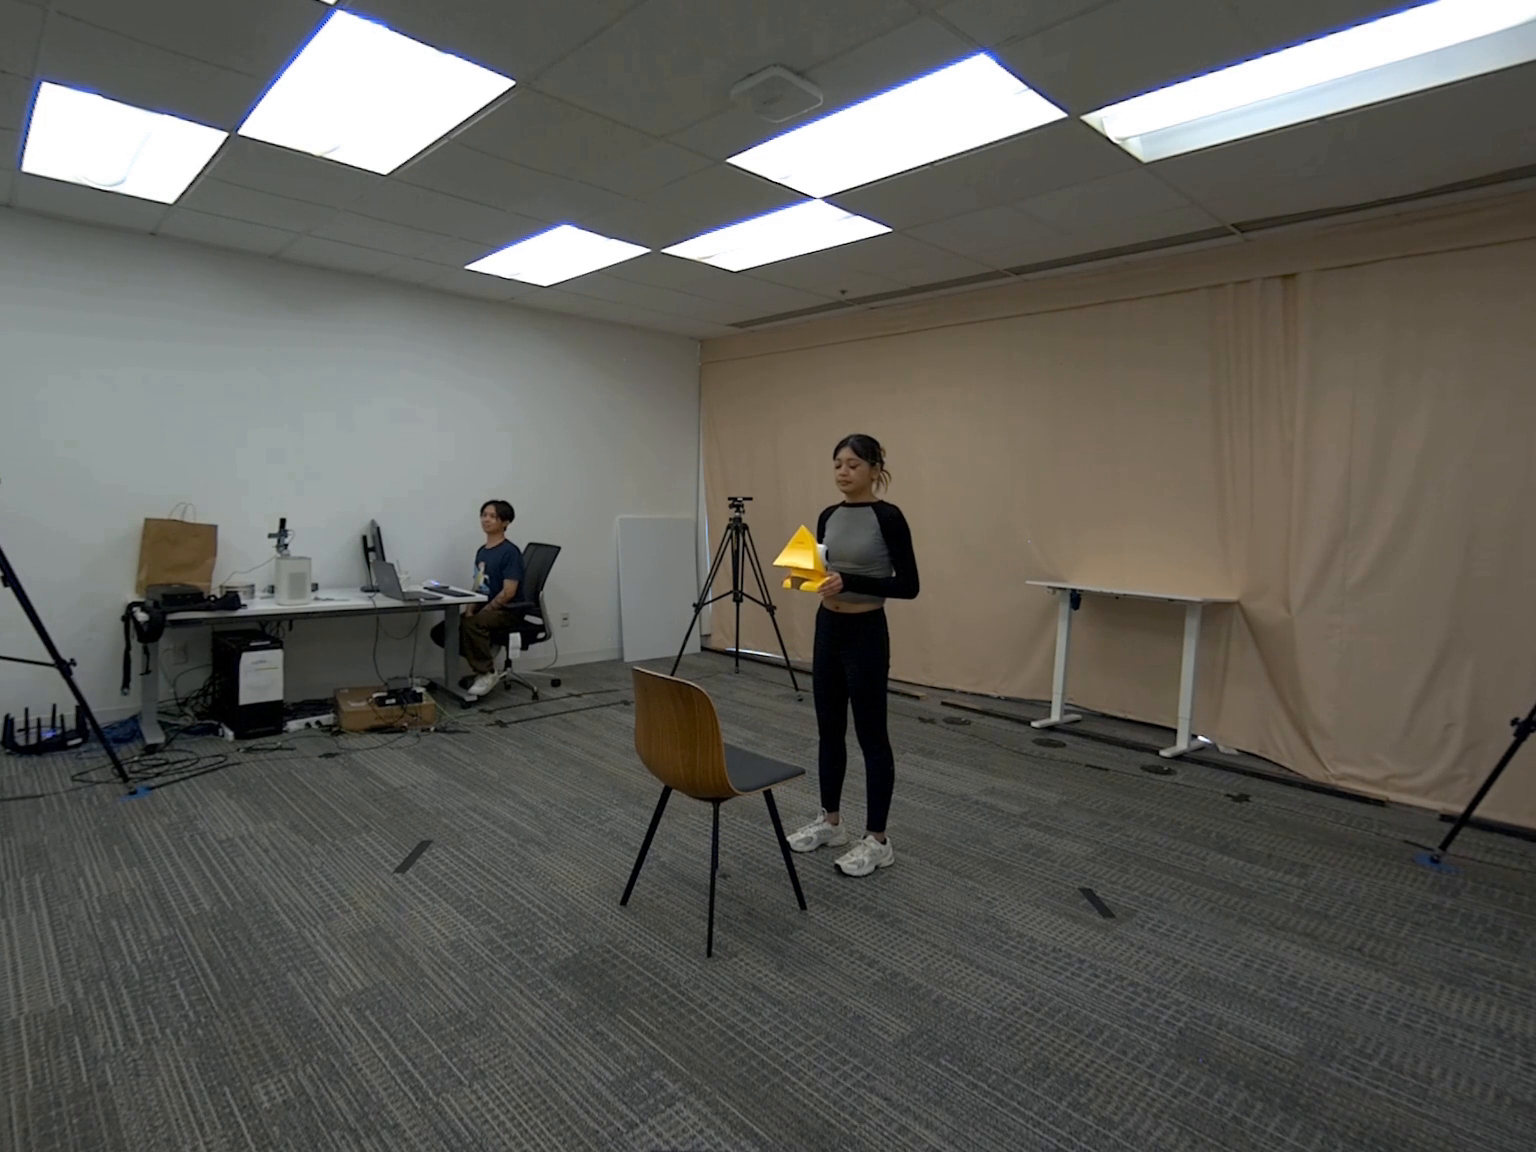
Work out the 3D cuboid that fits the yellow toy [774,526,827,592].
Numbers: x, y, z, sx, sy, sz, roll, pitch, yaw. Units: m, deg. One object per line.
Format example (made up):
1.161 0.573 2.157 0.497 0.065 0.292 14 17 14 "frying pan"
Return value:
0.154 -0.064 3.054 0.188 0.230 0.210 3 2 -43 "yellow toy"
